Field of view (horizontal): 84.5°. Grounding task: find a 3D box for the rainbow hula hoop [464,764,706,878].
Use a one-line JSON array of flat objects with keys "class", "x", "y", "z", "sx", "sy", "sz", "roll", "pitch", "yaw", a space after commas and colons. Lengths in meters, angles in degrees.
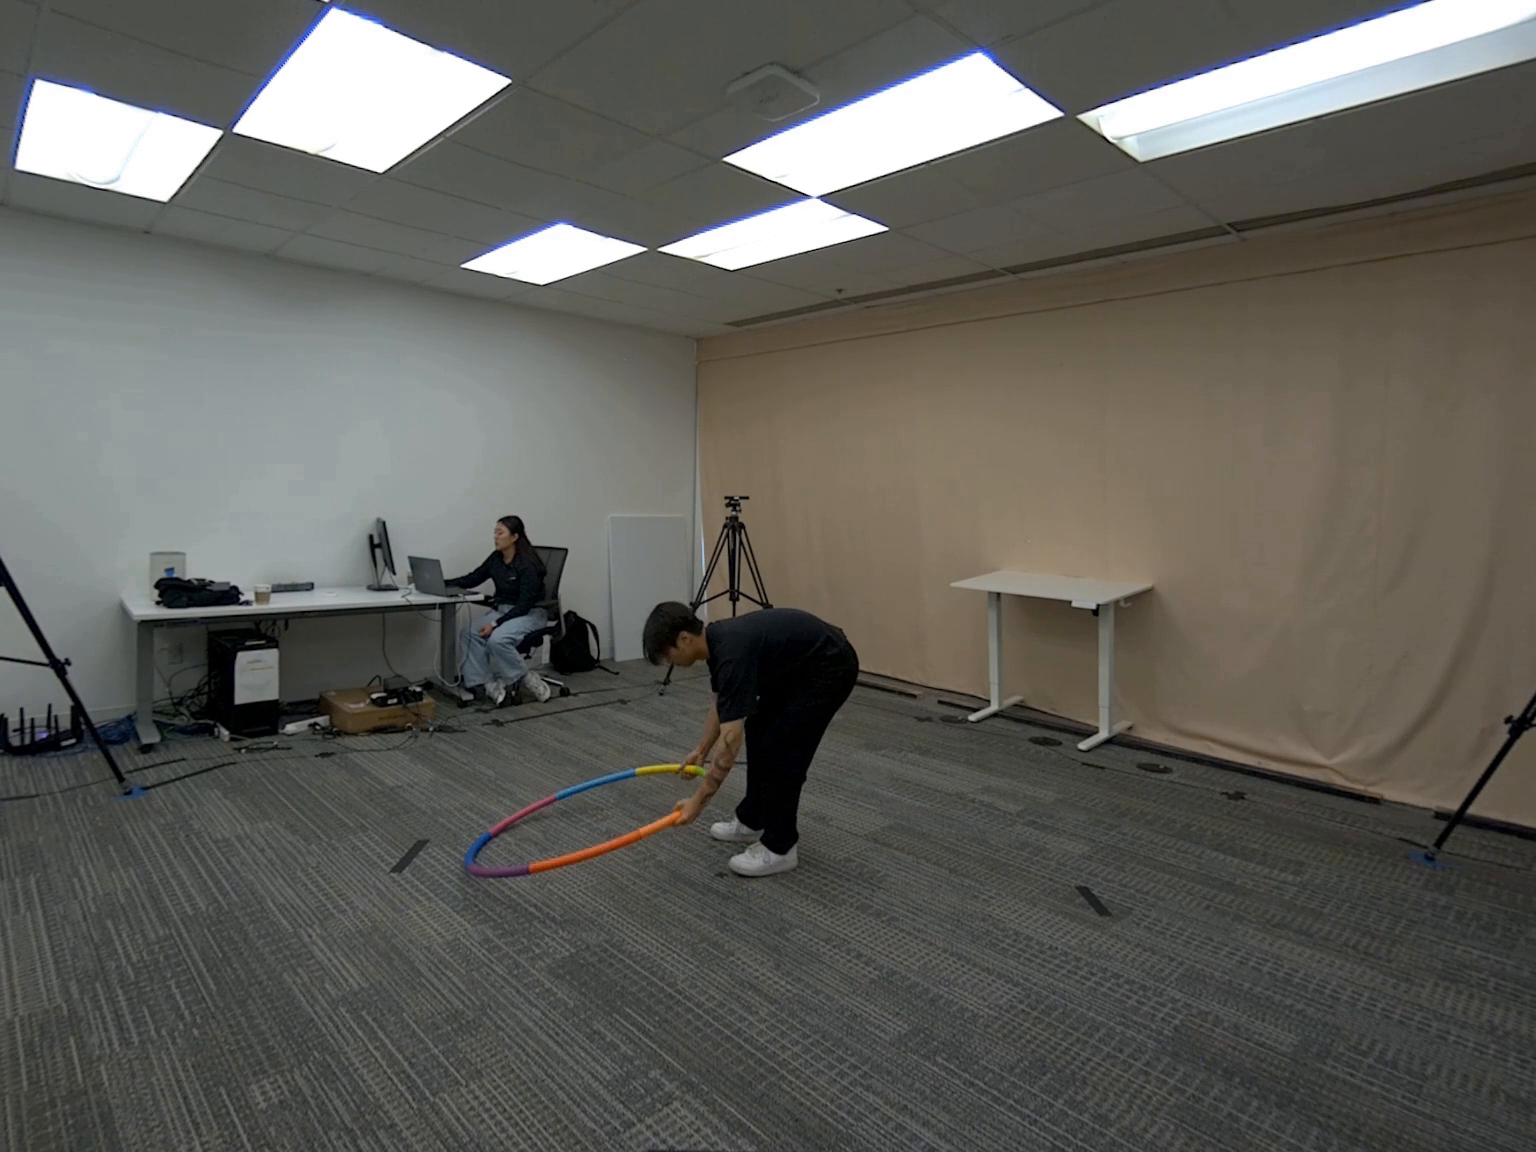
[{"class": "rainbow hula hoop", "x": -0.686, "y": 0.911, "z": 3.230, "sx": 0.978, "sy": 0.035, "sz": 0.980, "roll": -16, "pitch": 2, "yaw": -1}]
